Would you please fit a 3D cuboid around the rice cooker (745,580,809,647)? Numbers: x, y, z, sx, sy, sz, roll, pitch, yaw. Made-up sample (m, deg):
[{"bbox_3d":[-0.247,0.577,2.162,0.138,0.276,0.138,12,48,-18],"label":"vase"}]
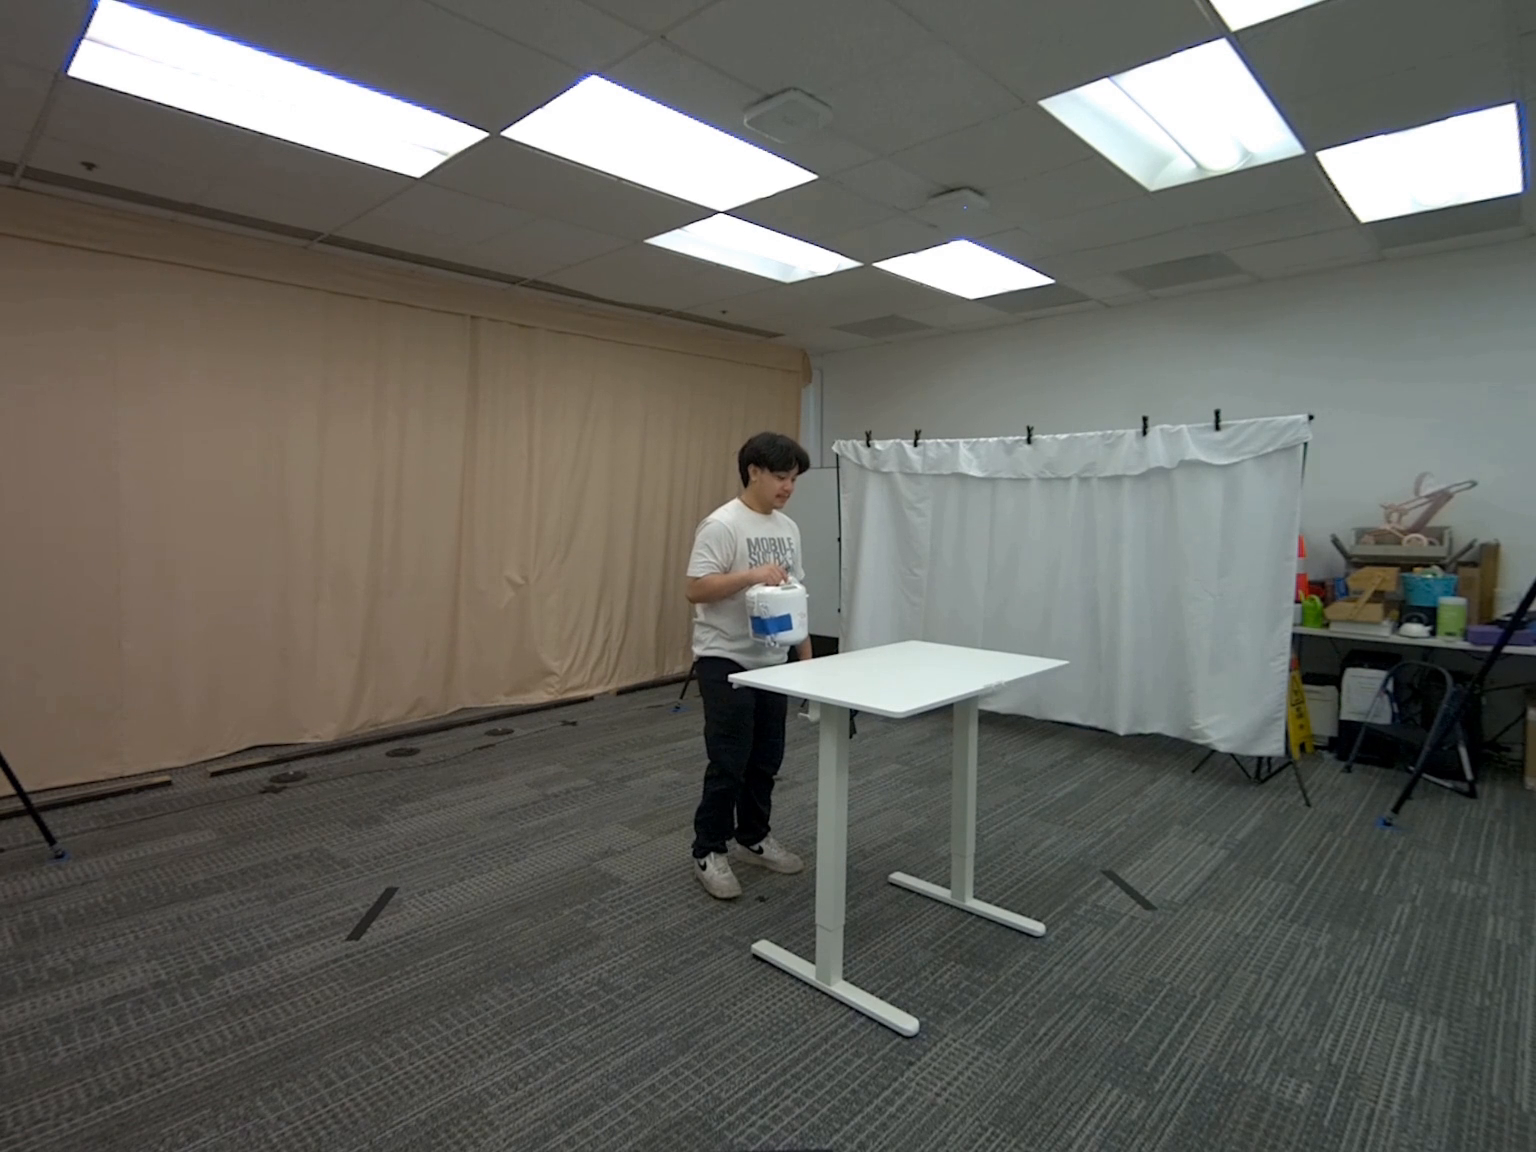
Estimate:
[{"bbox_3d":[0.028,0.120,2.925,0.216,0.232,0.223,-5,7,-25],"label":"rice cooker"}]
